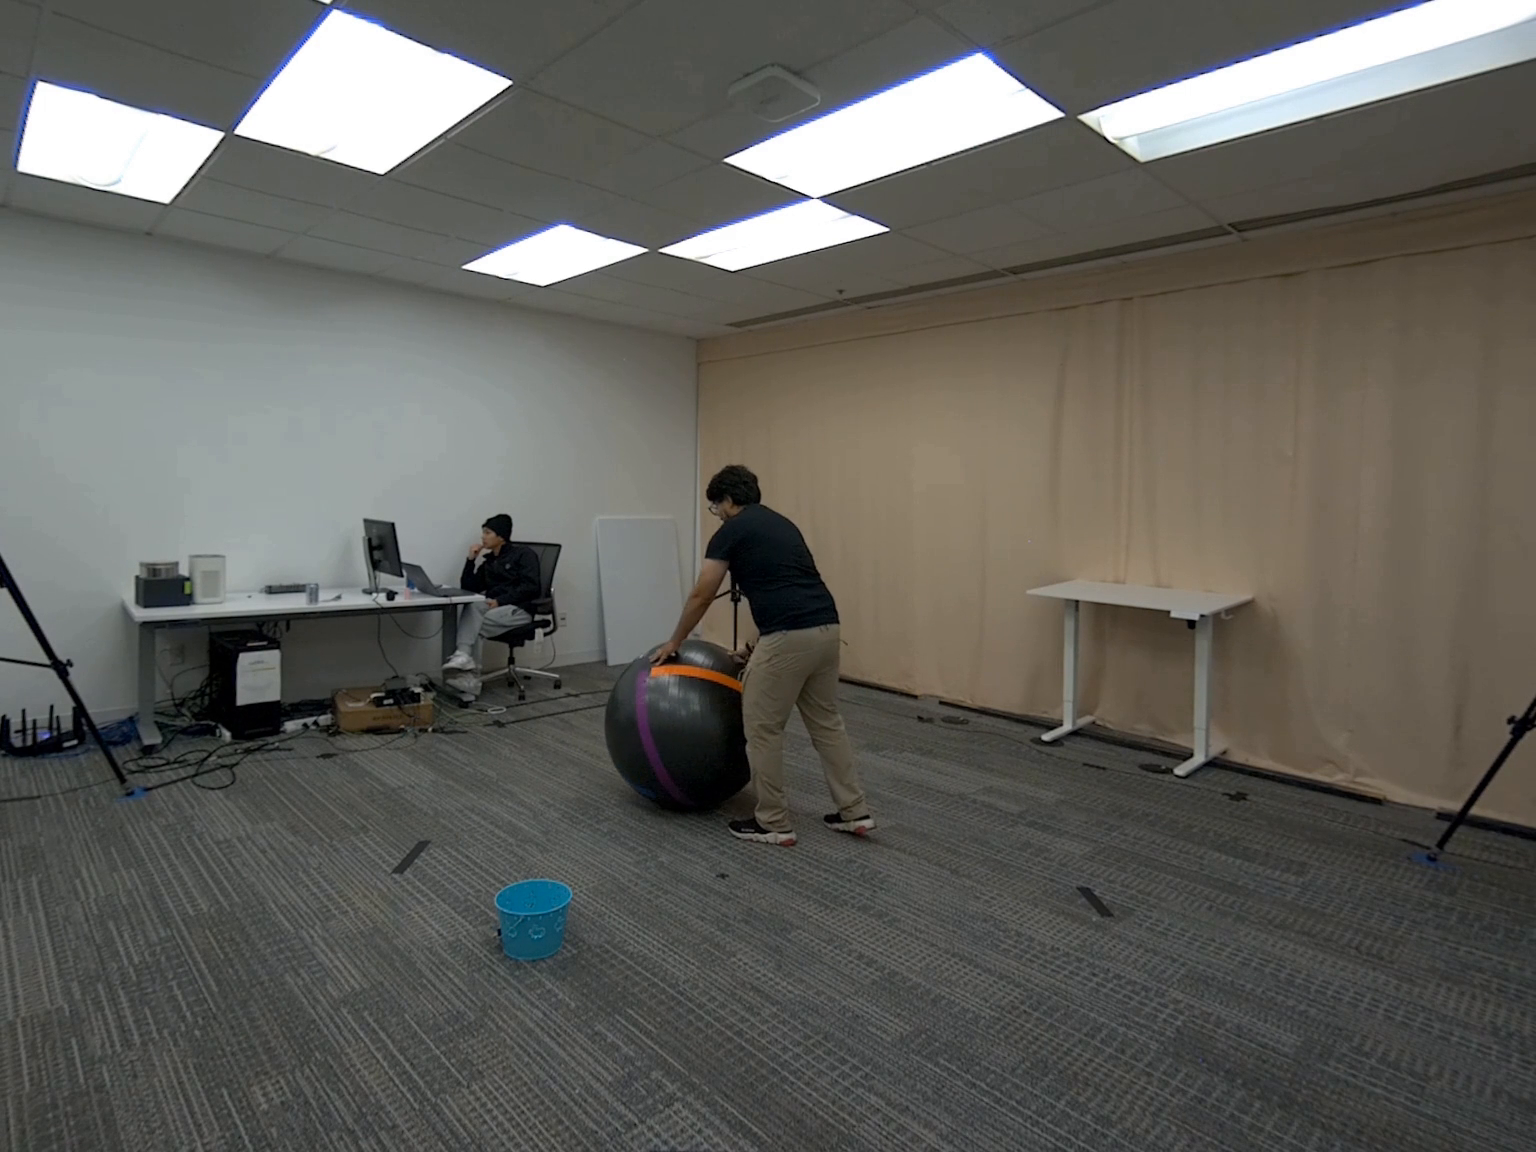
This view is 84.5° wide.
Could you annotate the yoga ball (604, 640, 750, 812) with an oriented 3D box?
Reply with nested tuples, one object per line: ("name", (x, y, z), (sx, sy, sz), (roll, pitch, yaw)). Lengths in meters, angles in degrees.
("yoga ball", (-0.372, 0.670, 3.851), (0.757, 0.756, 0.761), (1, 4, -1))
